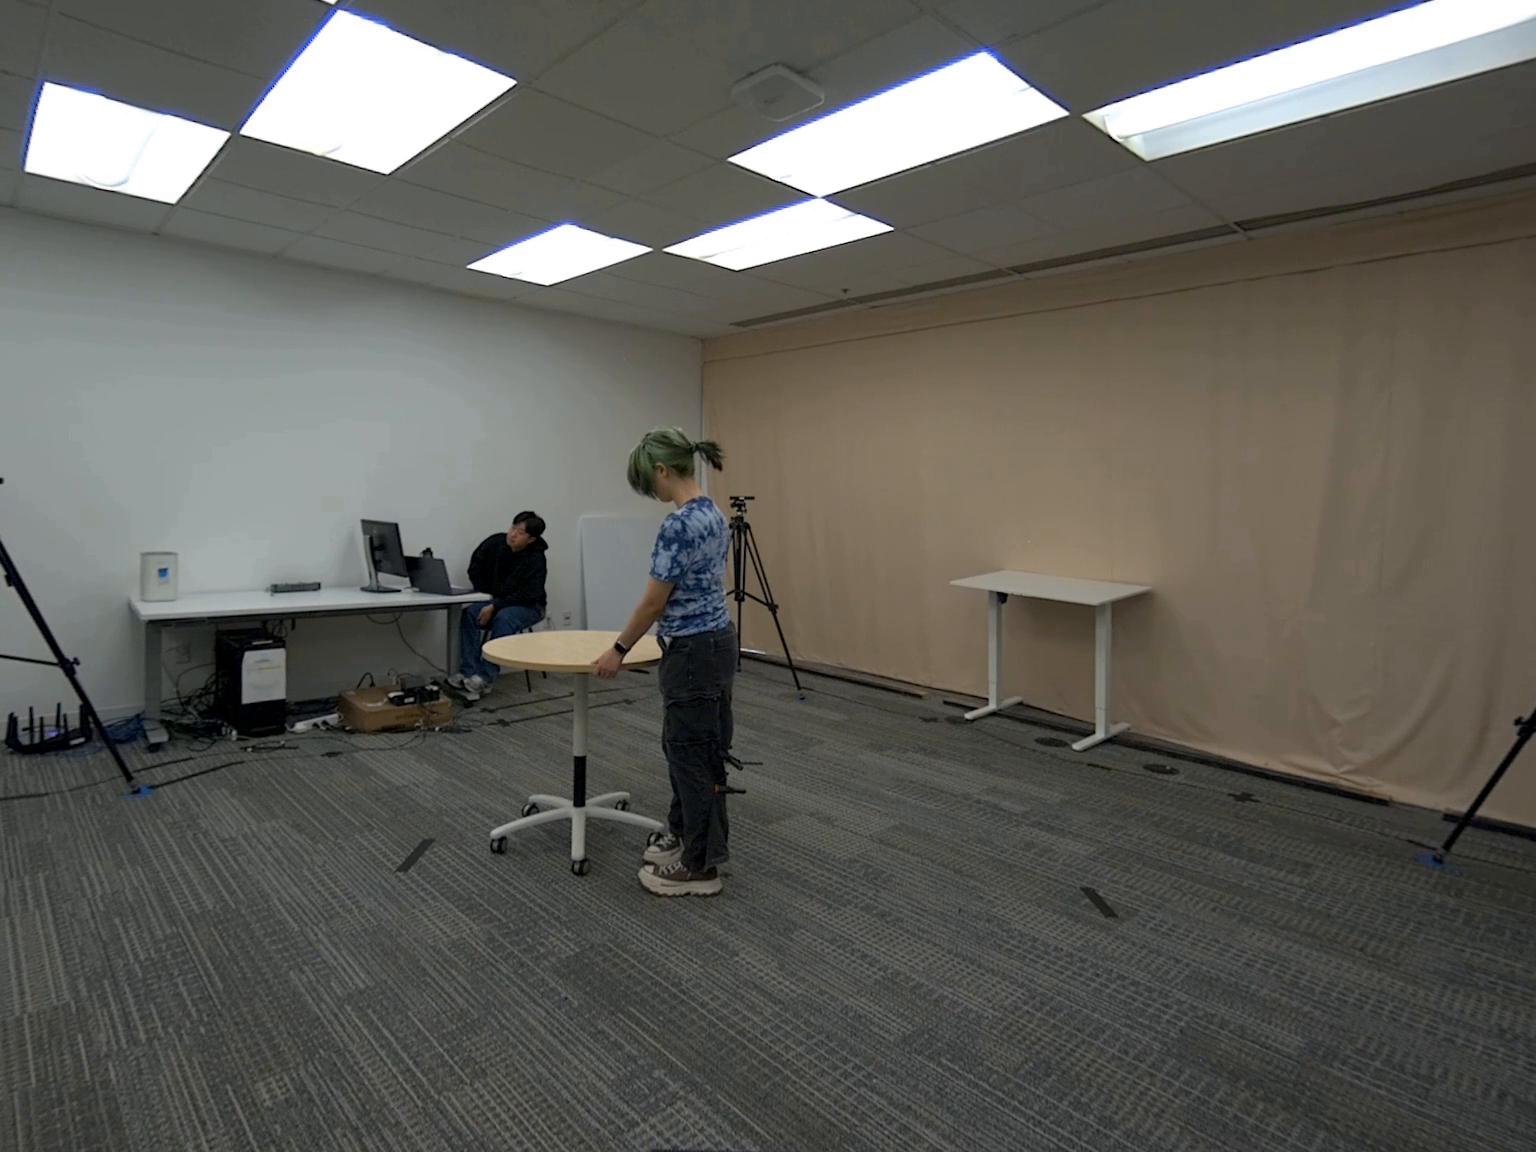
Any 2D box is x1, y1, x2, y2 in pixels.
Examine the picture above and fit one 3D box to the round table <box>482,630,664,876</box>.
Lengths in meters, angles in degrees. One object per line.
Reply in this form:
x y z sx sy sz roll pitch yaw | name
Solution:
-0.762 0.675 3.384 0.763 0.792 0.766 1 3 -1 | round table
